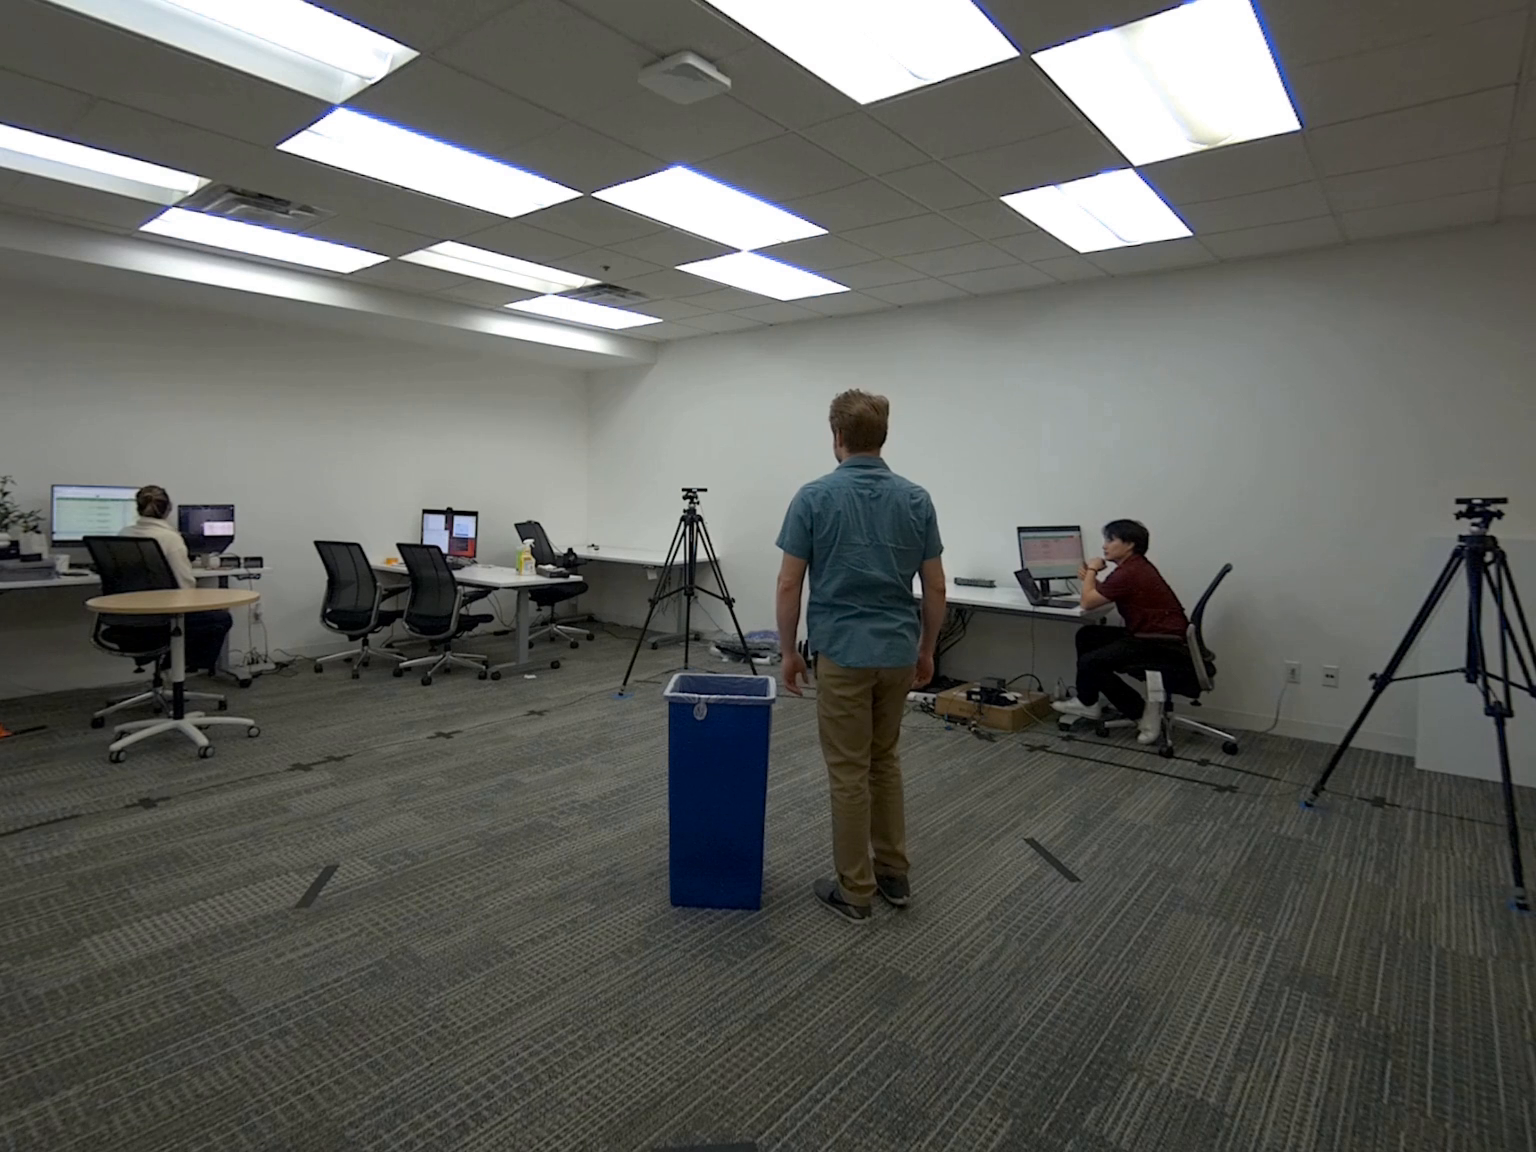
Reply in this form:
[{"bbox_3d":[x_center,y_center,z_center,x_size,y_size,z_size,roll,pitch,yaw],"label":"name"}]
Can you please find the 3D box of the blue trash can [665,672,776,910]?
[{"bbox_3d":[-0.168,0.726,2.958,0.375,0.712,0.378,1,2,1],"label":"blue trash can"}]
